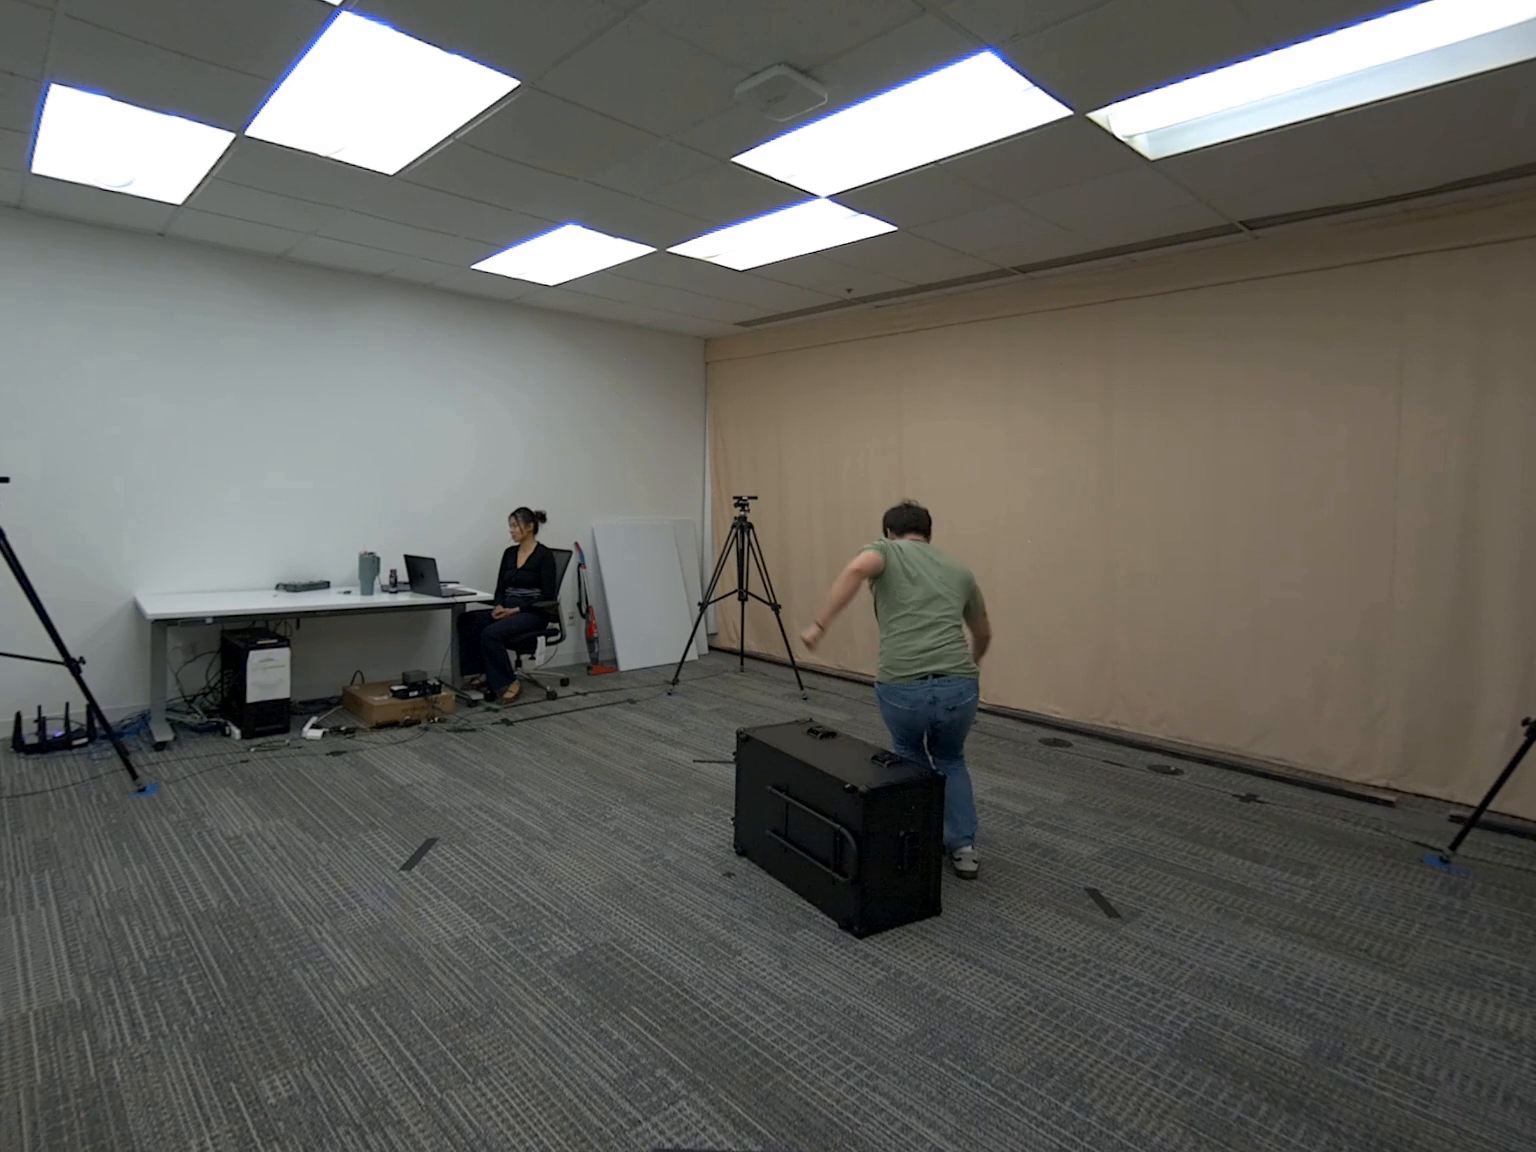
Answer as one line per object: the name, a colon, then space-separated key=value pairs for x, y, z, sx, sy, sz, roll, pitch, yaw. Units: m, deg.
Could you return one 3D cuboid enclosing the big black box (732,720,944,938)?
big black box: x=0.195 y=0.871 z=3.091 sx=0.388 sy=0.520 sz=0.881 roll=-1 pitch=5 yaw=-31
